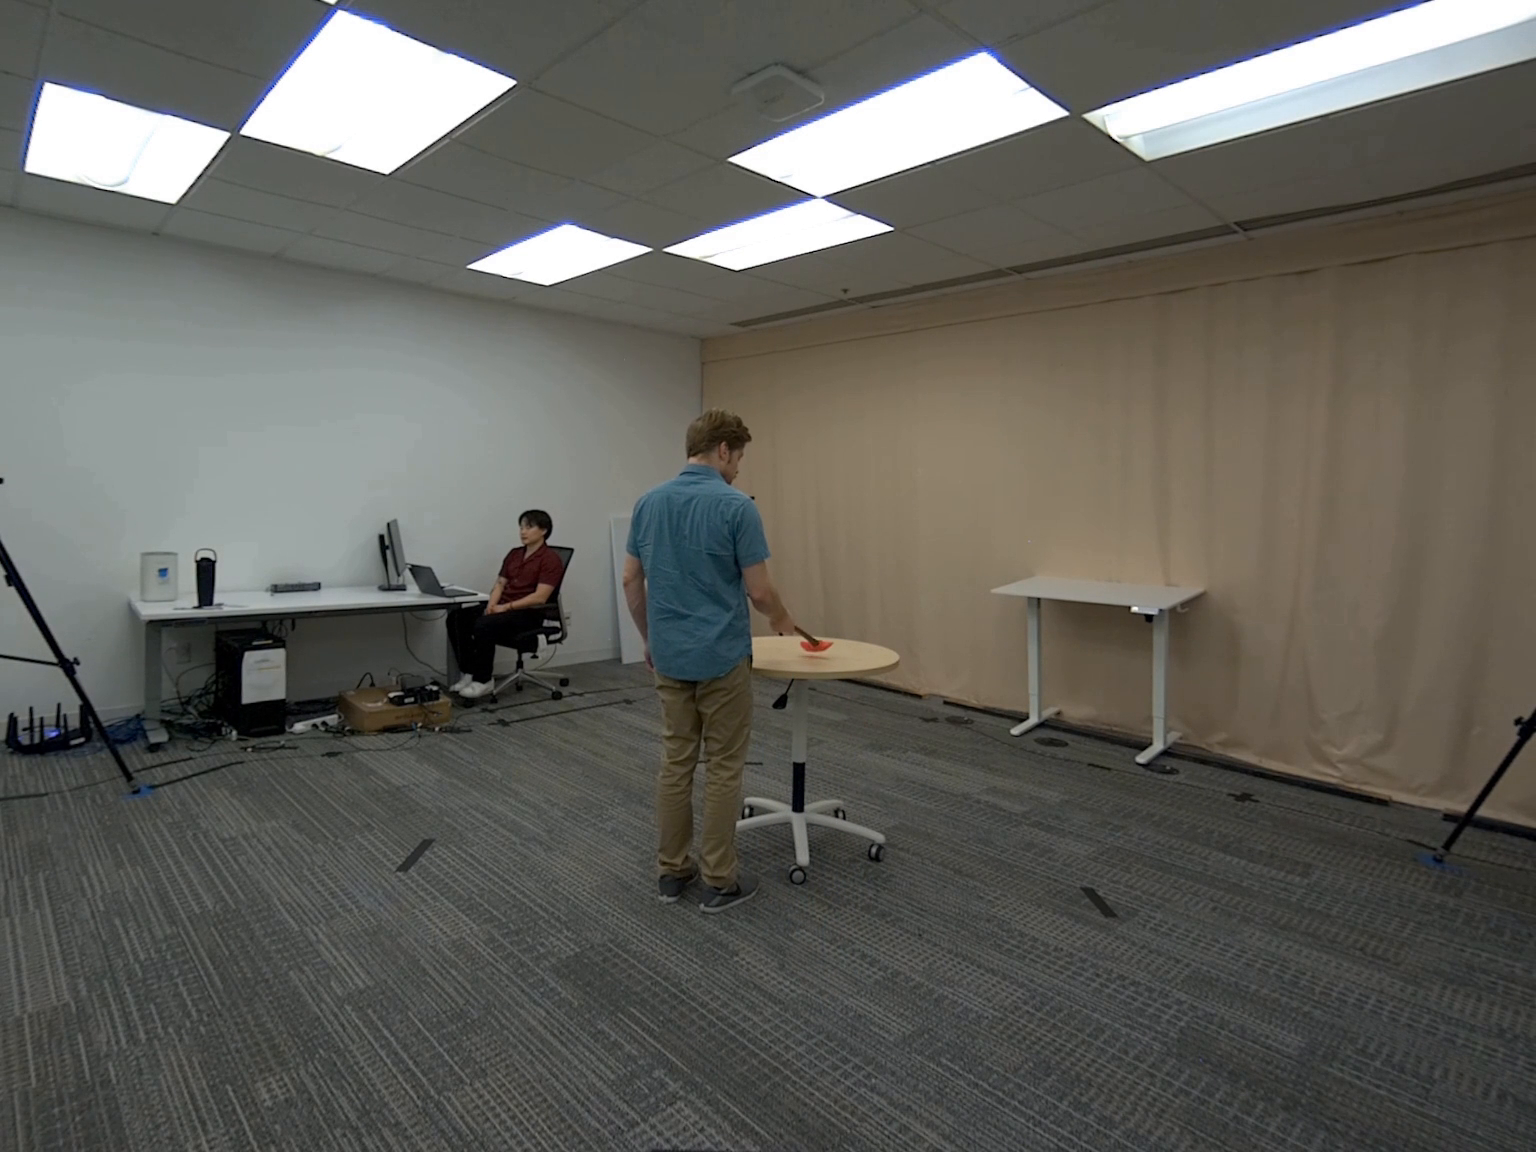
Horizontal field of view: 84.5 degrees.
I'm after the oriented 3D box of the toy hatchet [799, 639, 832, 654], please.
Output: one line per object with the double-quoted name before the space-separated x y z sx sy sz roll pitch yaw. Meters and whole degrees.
"toy hatchet" 0.098 0.231 3.204 0.264 0.030 0.132 26 -33 -21
